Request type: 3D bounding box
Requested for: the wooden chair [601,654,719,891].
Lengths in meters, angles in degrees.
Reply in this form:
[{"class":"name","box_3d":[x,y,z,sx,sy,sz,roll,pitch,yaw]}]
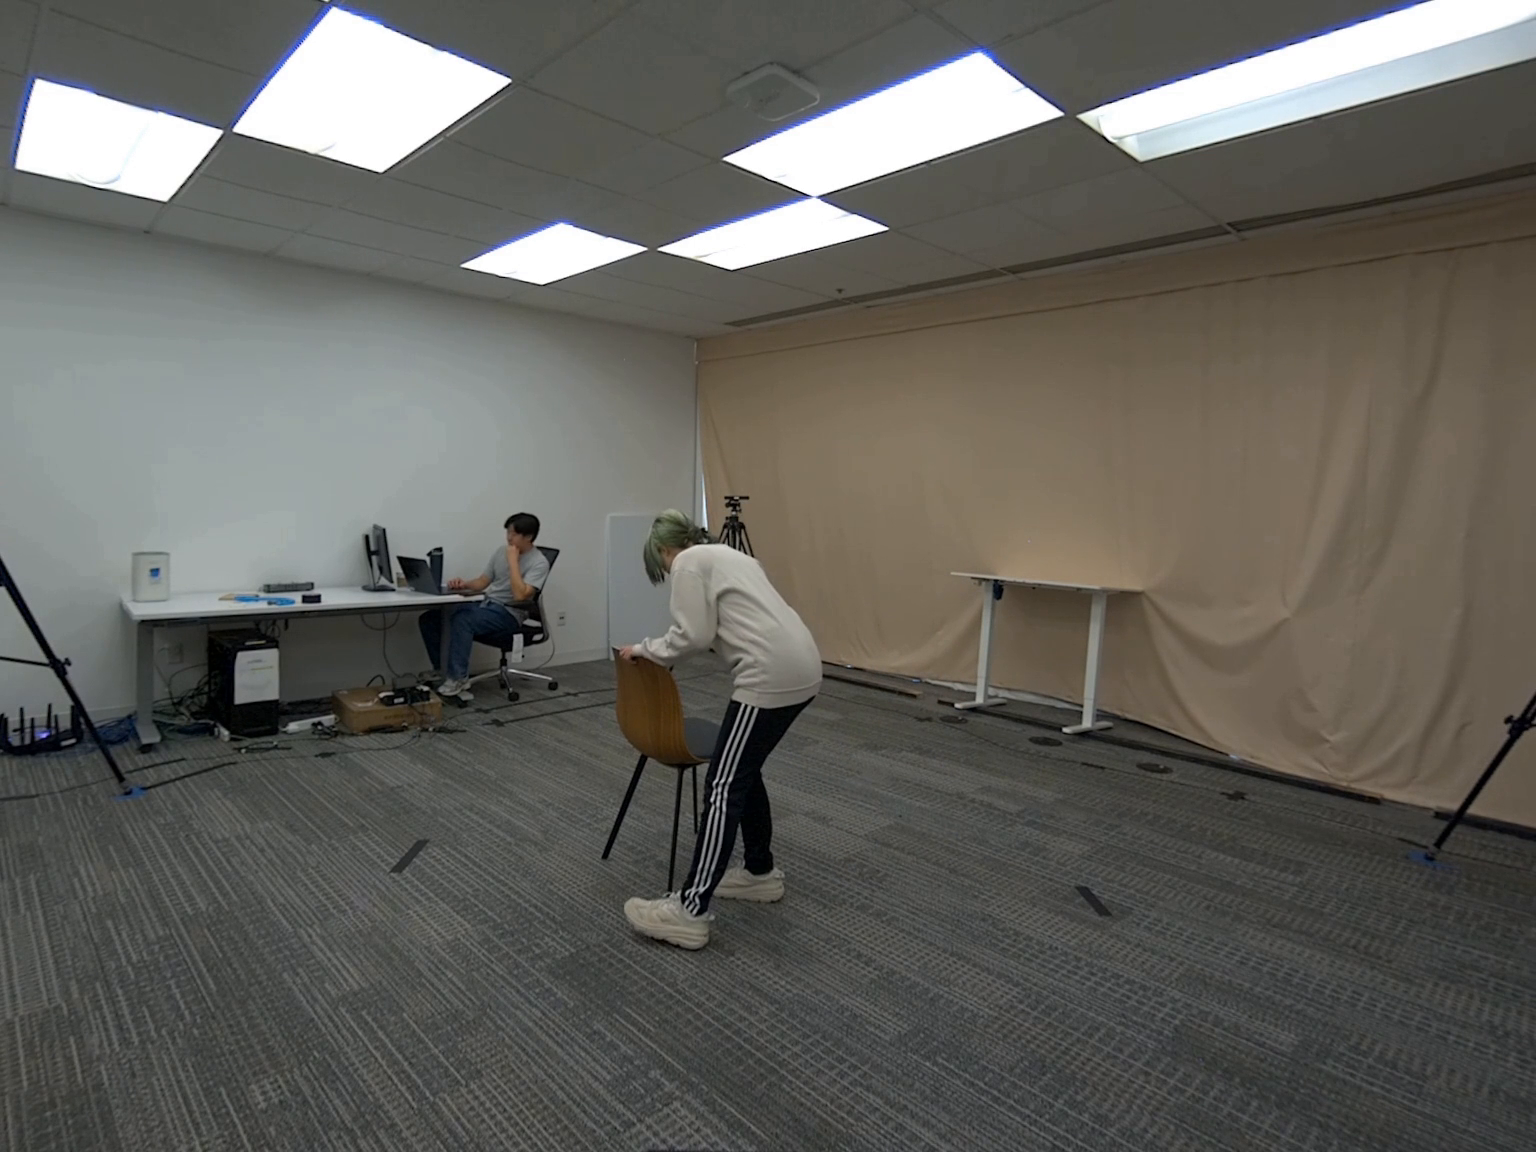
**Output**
[{"class":"wooden chair","box_3d":[-0.317,0.669,3.169,0.512,0.873,0.490,-7,8,-39]}]
